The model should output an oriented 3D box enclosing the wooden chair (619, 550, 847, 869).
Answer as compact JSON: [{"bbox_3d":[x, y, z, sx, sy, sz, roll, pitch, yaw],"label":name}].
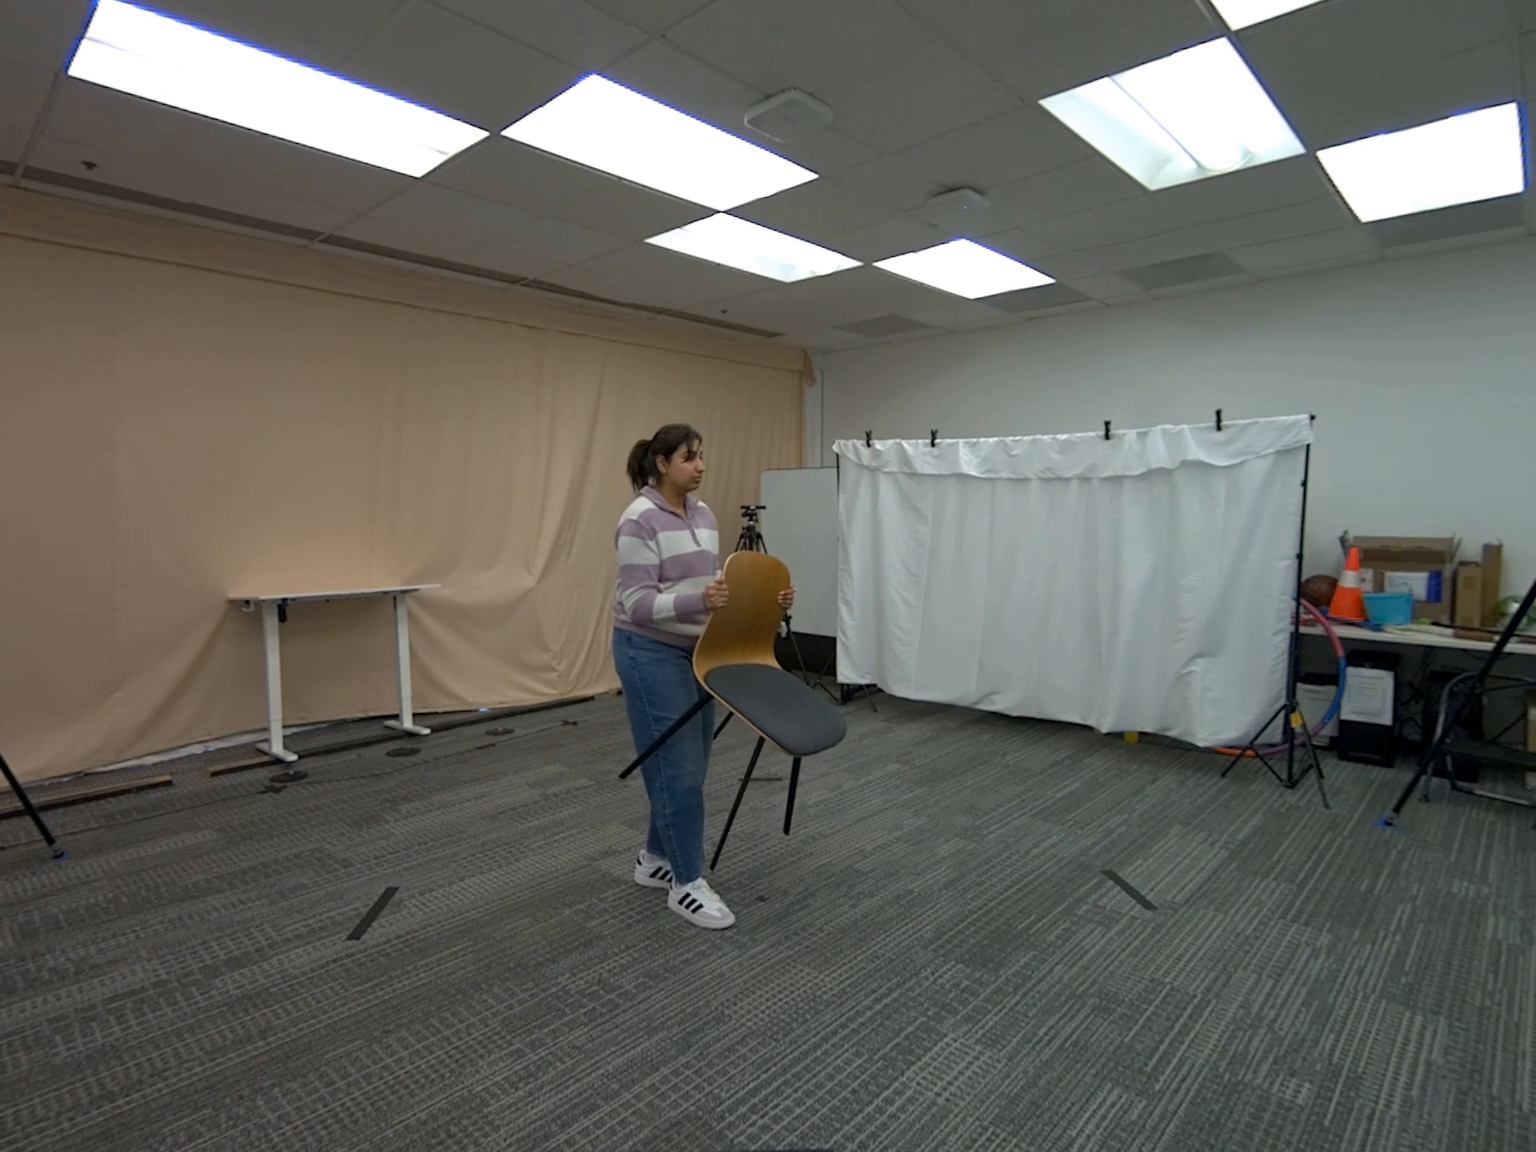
[{"bbox_3d":[-0.018,0.425,2.743,0.541,0.875,0.463,29,15,32],"label":"wooden chair"}]
